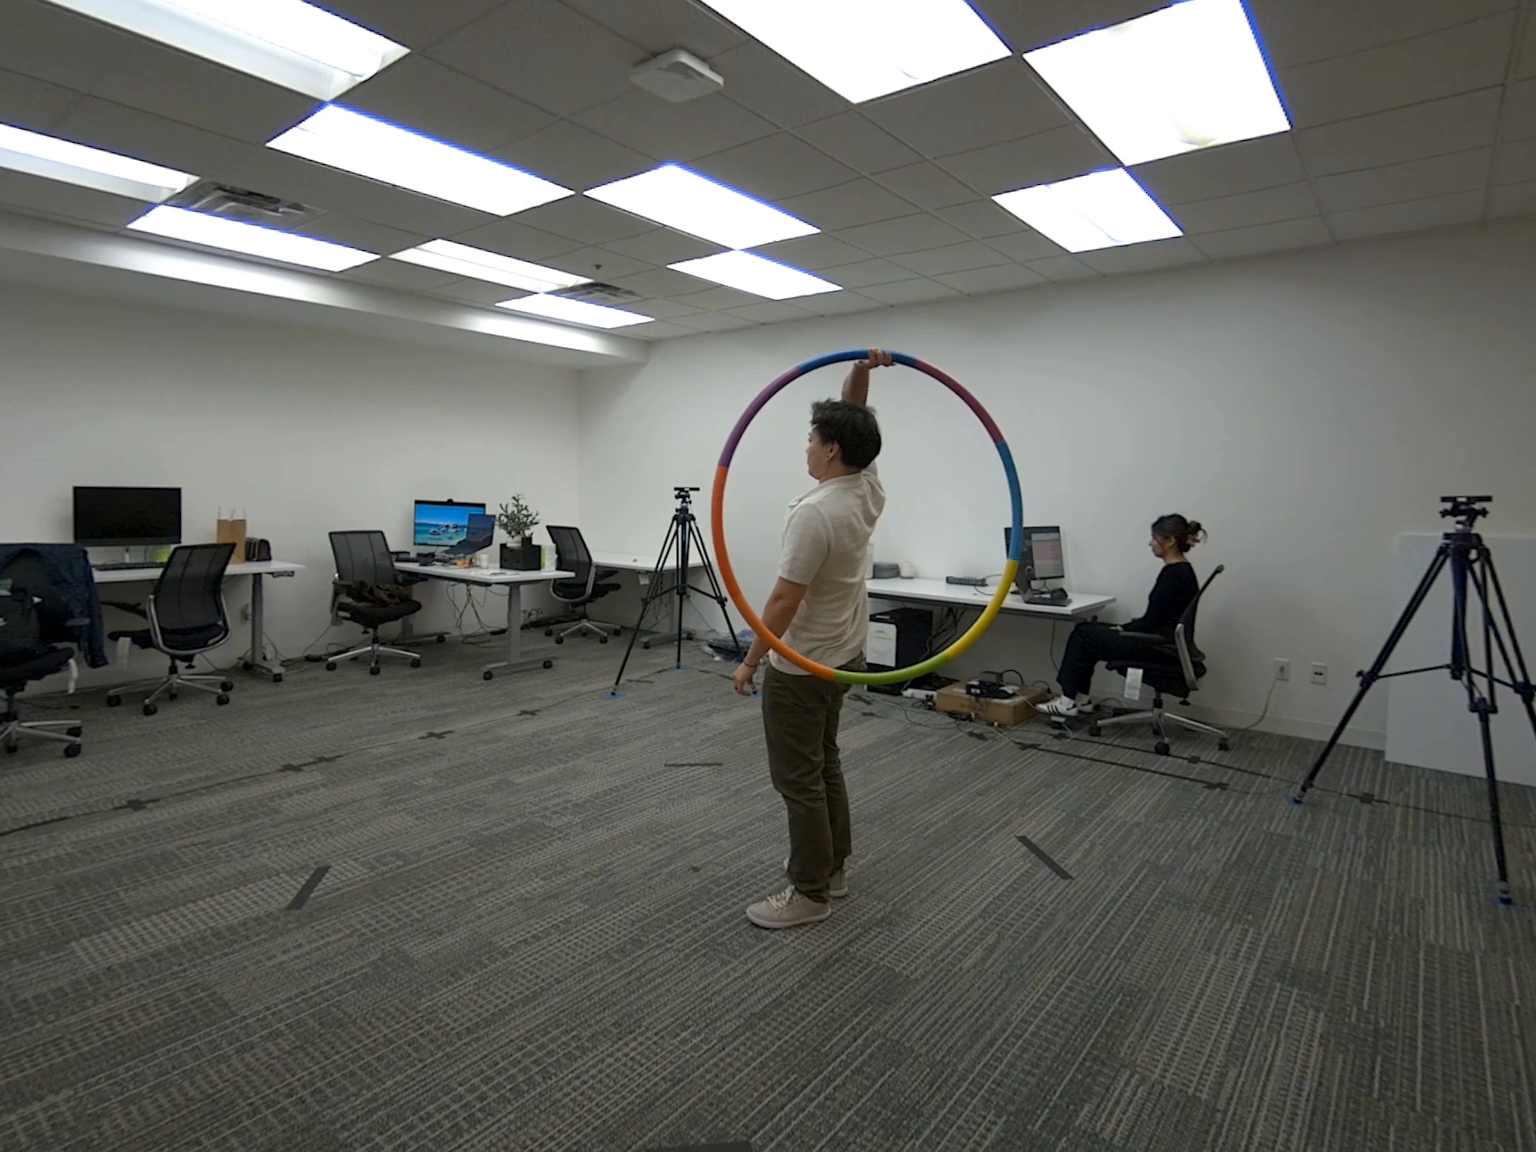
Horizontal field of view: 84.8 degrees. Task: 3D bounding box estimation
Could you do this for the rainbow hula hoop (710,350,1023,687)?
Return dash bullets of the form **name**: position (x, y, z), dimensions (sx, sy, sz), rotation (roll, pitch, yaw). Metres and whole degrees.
- **rainbow hula hoop**: position (0.305, -0.176, 2.501), dimensions (0.964, 0.980, 0.036), rotation (0, -2, -14)
